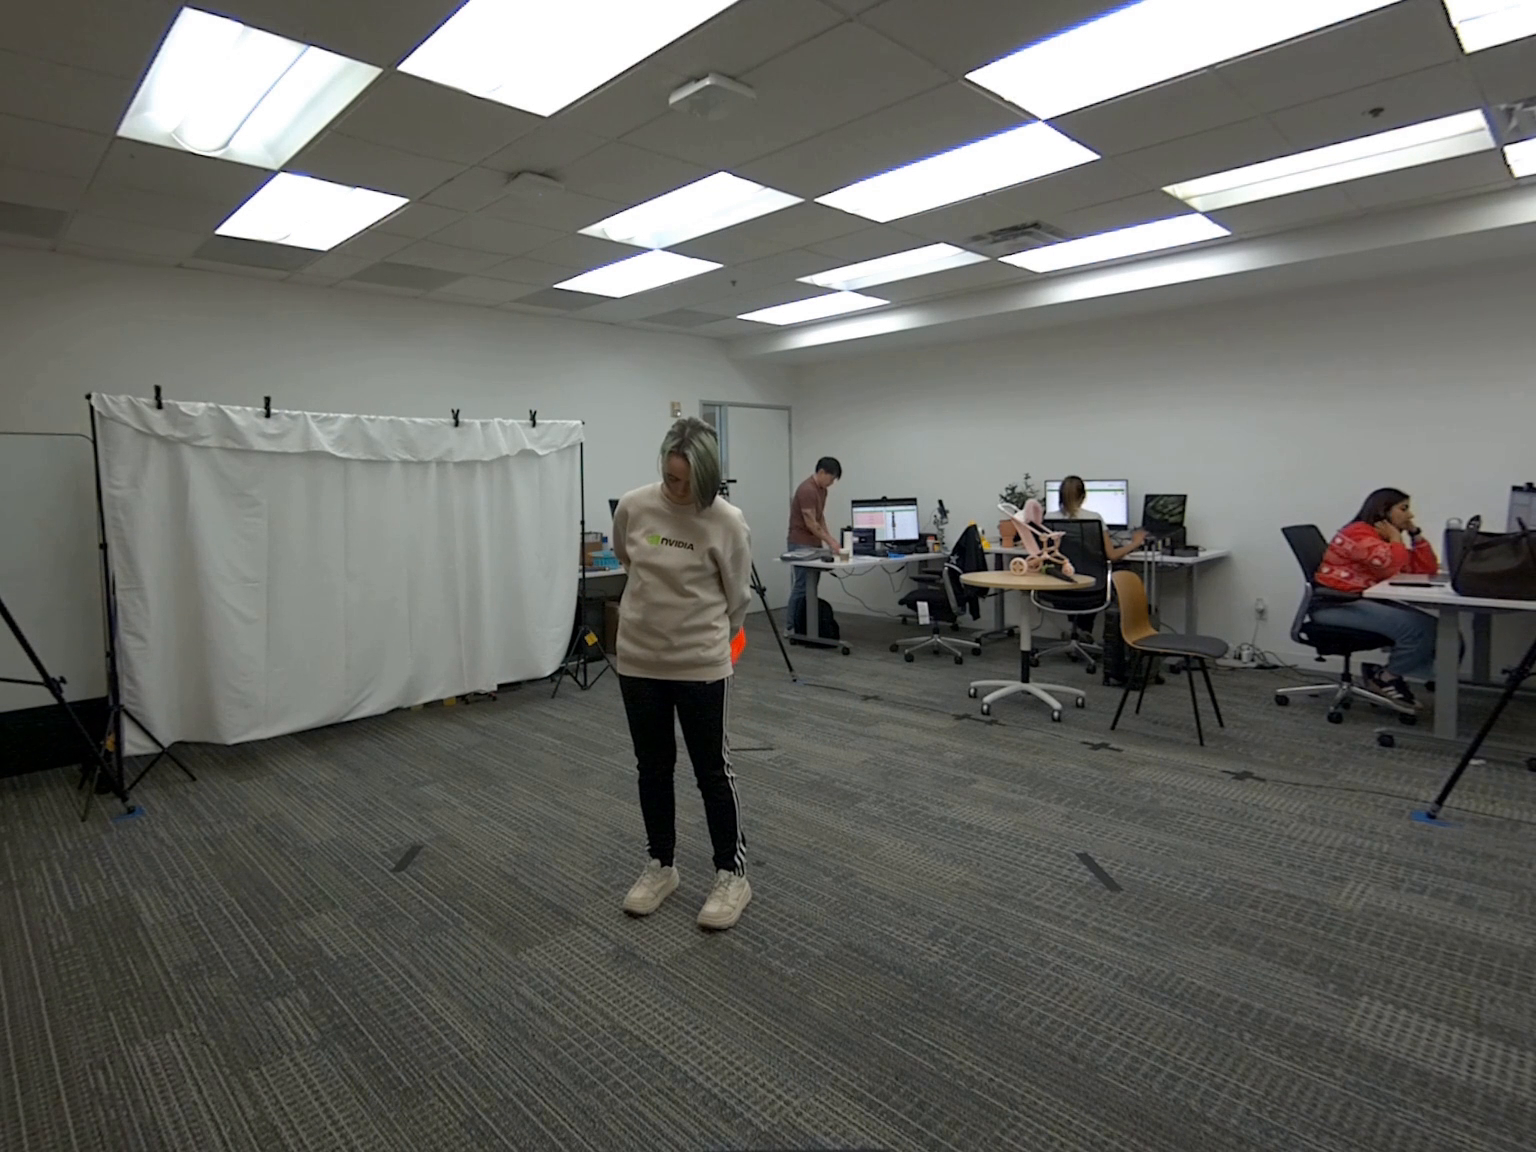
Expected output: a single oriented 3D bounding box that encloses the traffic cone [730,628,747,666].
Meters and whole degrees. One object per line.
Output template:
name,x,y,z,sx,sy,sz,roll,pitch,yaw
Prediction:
traffic cone,-0.292,0.216,3.076,0.379,0.209,0.202,-4,-31,-15
